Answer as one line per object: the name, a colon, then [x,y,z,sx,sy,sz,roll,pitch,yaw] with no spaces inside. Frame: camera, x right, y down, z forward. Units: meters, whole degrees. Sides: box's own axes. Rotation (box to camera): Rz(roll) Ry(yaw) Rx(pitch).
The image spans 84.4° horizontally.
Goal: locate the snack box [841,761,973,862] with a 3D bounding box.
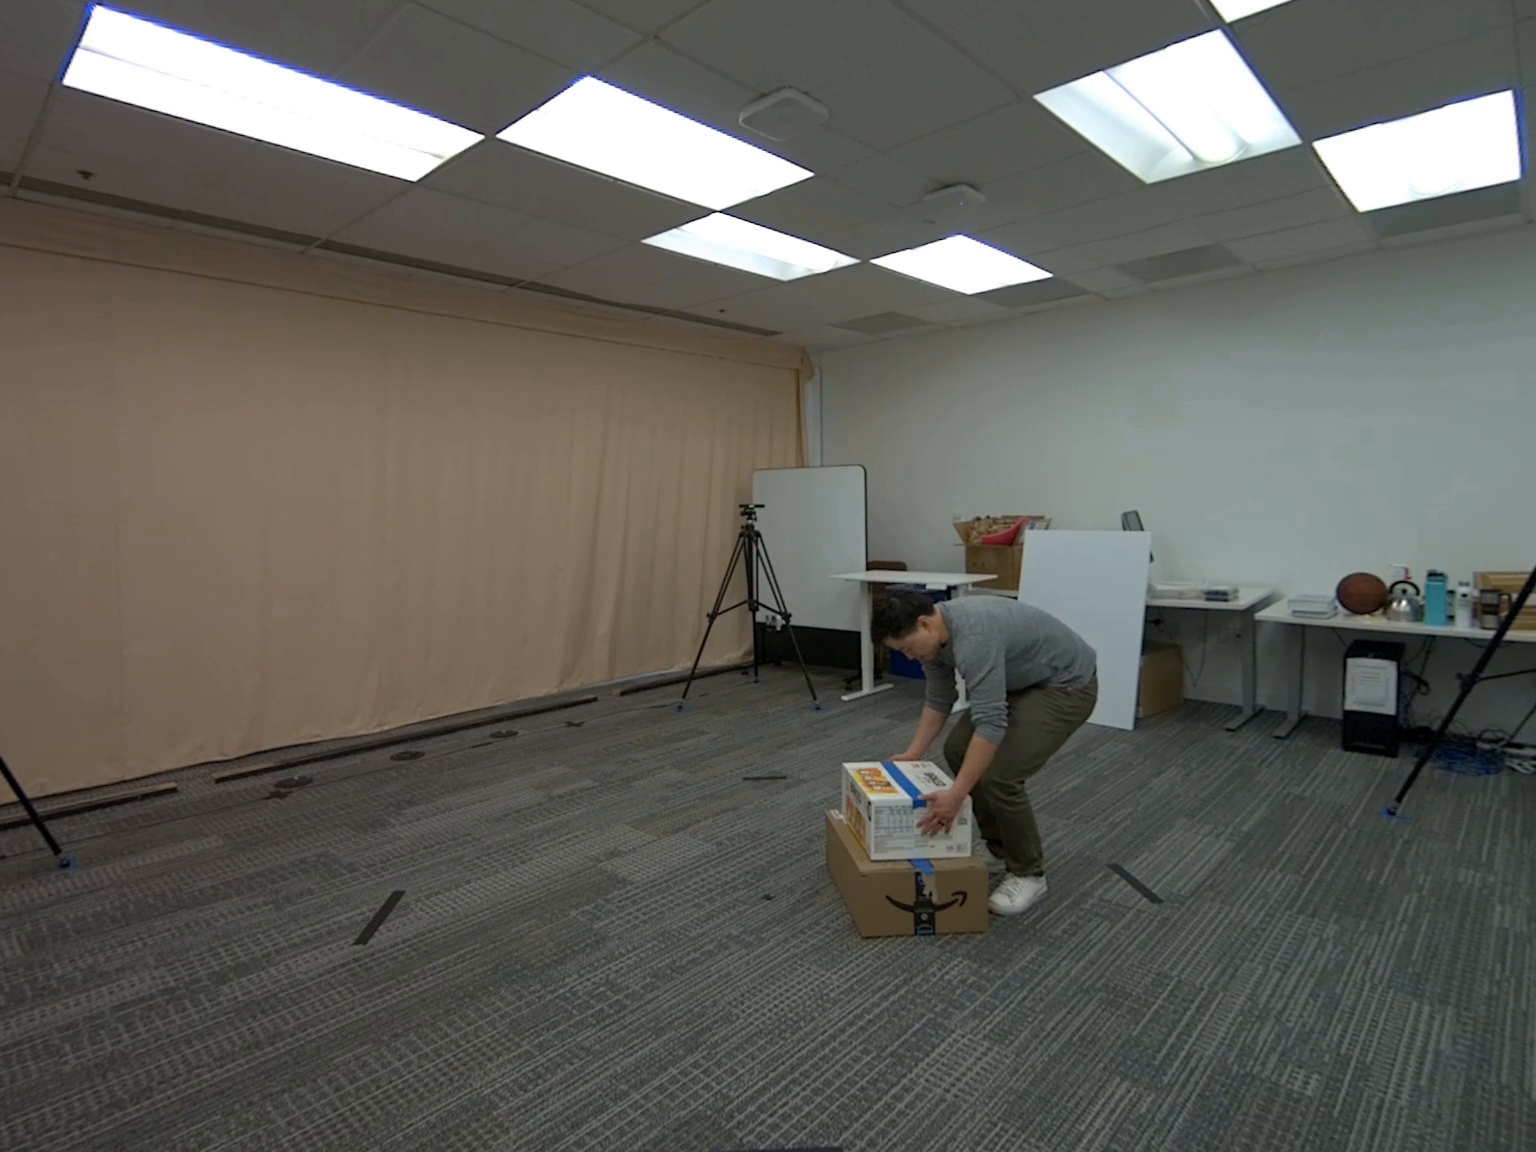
snack box: [0.481,0.817,2.967,0.338,0.205,0.409,-2,5,-7]
